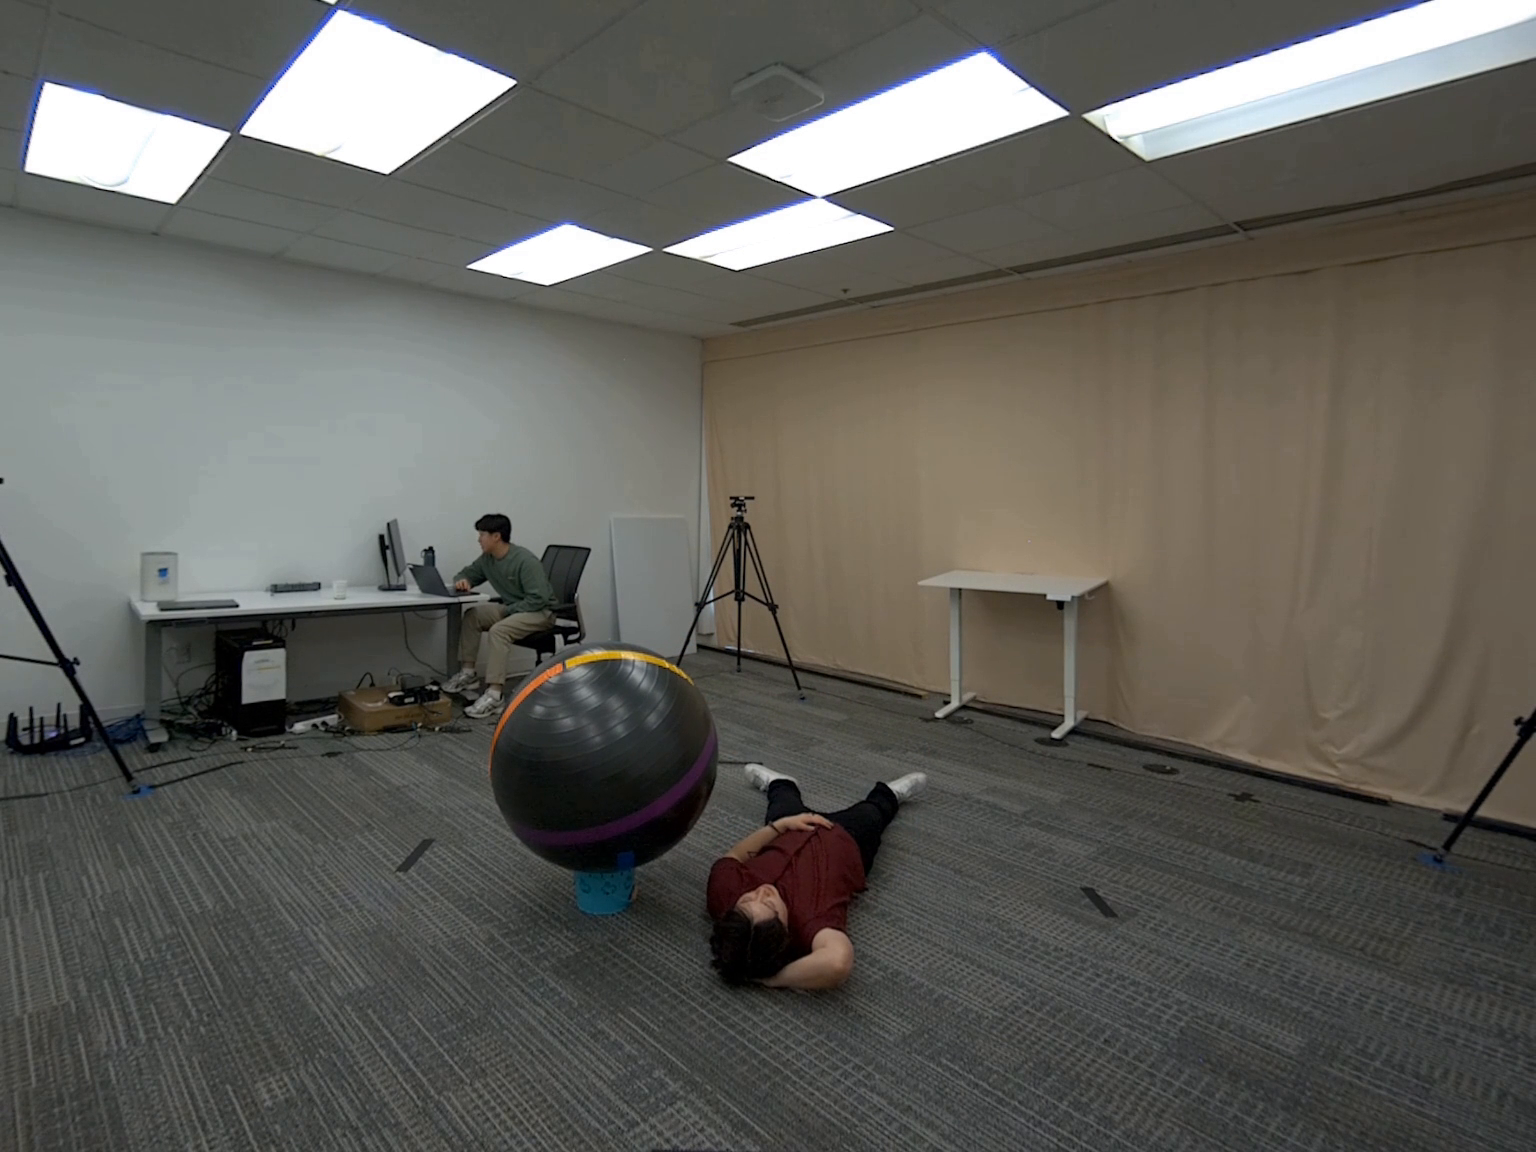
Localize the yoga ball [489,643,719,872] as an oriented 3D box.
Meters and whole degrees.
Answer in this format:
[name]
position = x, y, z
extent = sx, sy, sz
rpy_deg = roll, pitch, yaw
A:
[yoga ball]
position = -0.555, 0.610, 2.844
extent = 0.757, 0.756, 0.761
rpy_deg = 1, 4, -1
